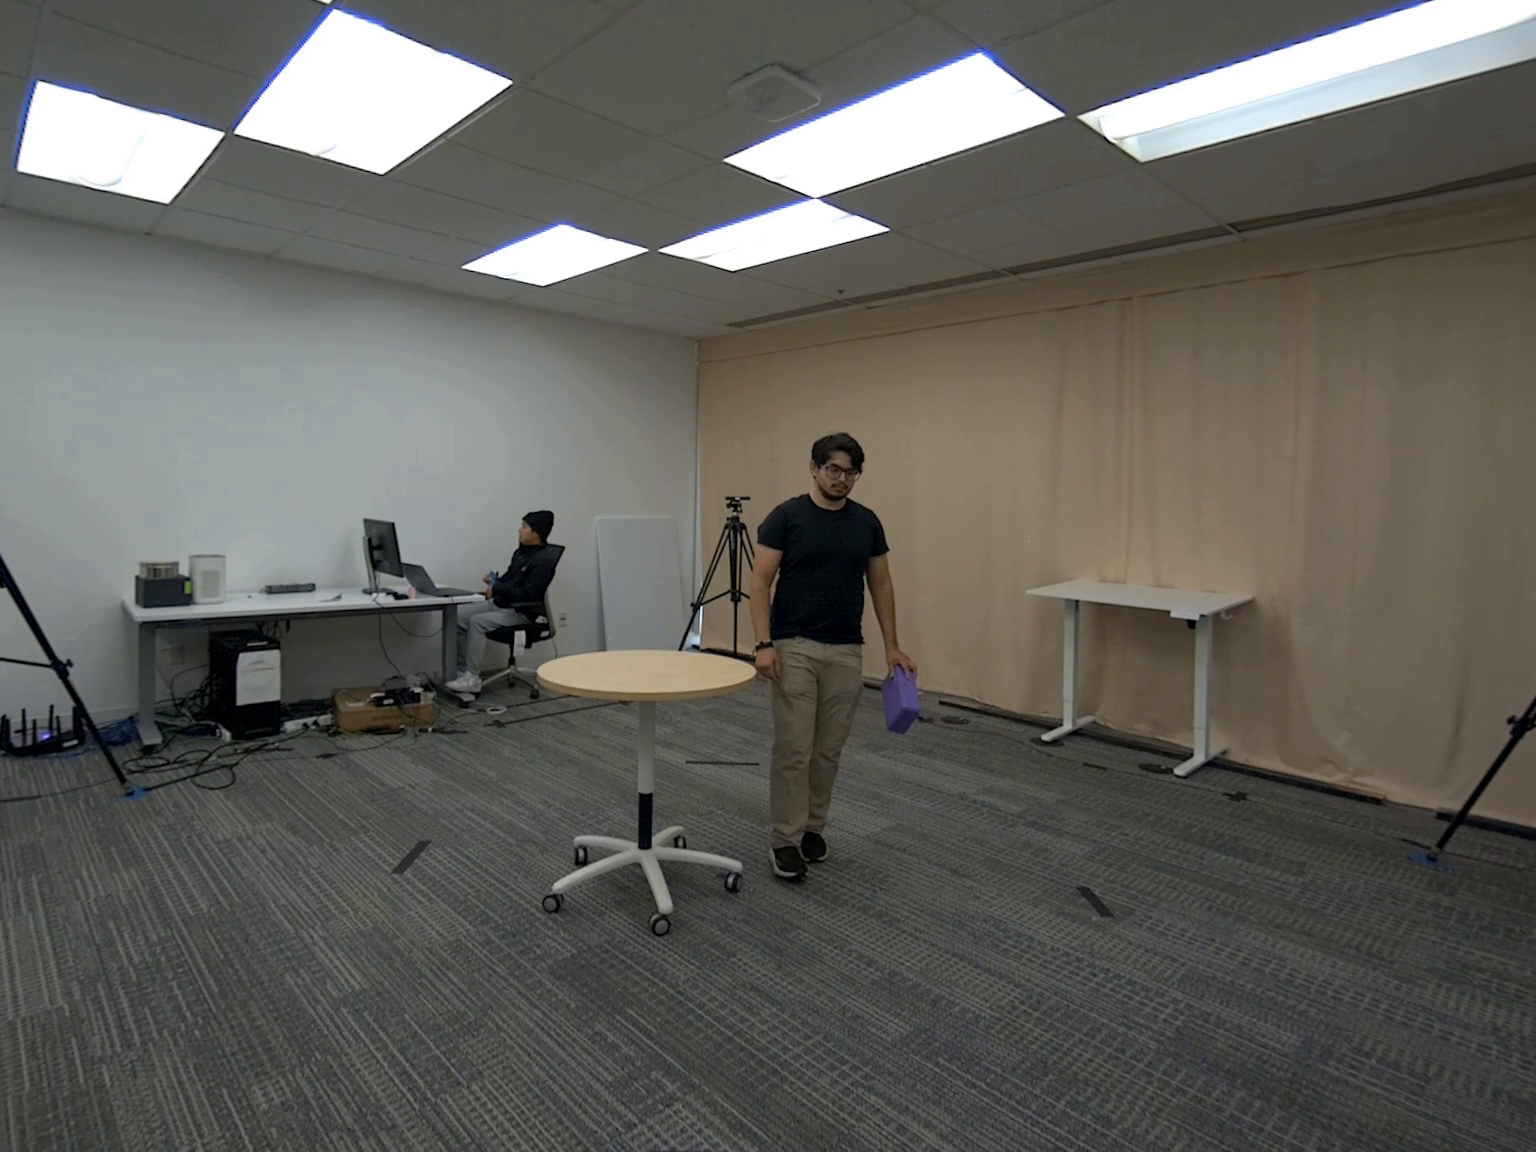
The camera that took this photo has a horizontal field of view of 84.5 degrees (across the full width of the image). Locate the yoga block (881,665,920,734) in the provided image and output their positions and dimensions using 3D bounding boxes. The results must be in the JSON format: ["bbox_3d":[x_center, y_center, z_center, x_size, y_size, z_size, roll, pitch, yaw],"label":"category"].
[{"bbox_3d":[0.492,0.460,3.176,0.075,0.147,0.234,16,39,-14],"label":"yoga block"}]
